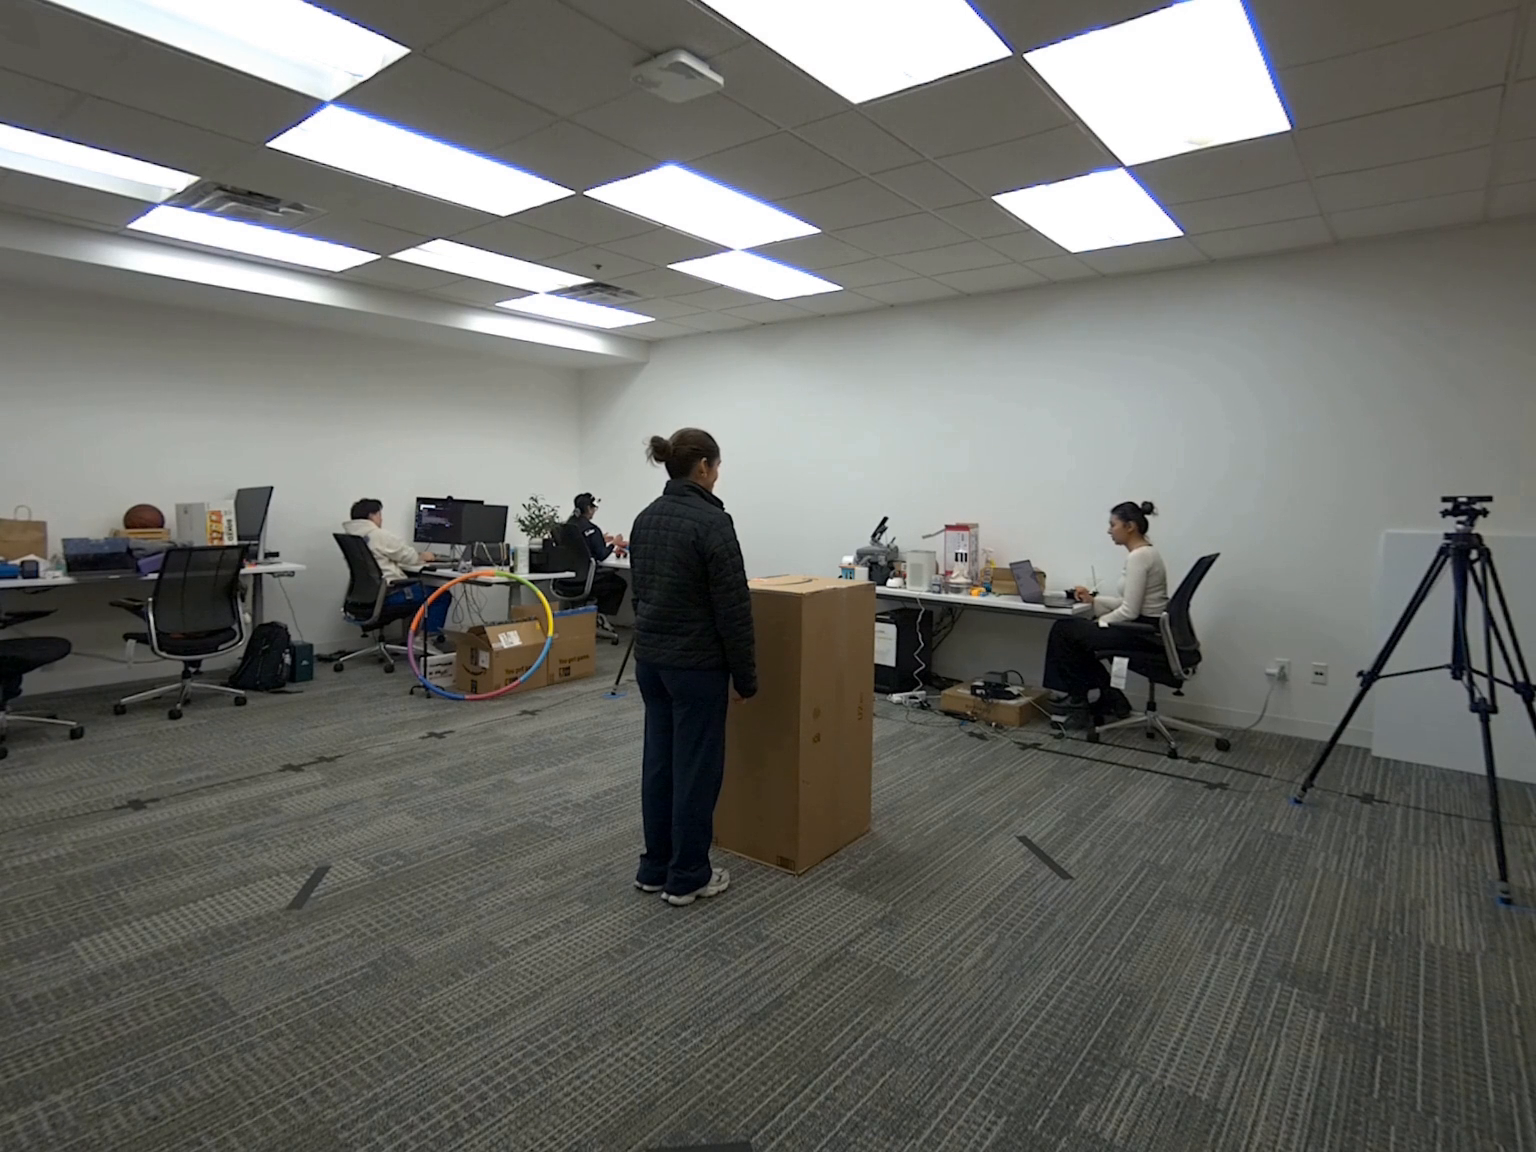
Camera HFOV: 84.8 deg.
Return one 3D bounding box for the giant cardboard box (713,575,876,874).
[{"bbox_3d":[0.119,0.535,3.391,0.440,1.023,0.561,3,4,37],"label":"giant cardboard box"}]
